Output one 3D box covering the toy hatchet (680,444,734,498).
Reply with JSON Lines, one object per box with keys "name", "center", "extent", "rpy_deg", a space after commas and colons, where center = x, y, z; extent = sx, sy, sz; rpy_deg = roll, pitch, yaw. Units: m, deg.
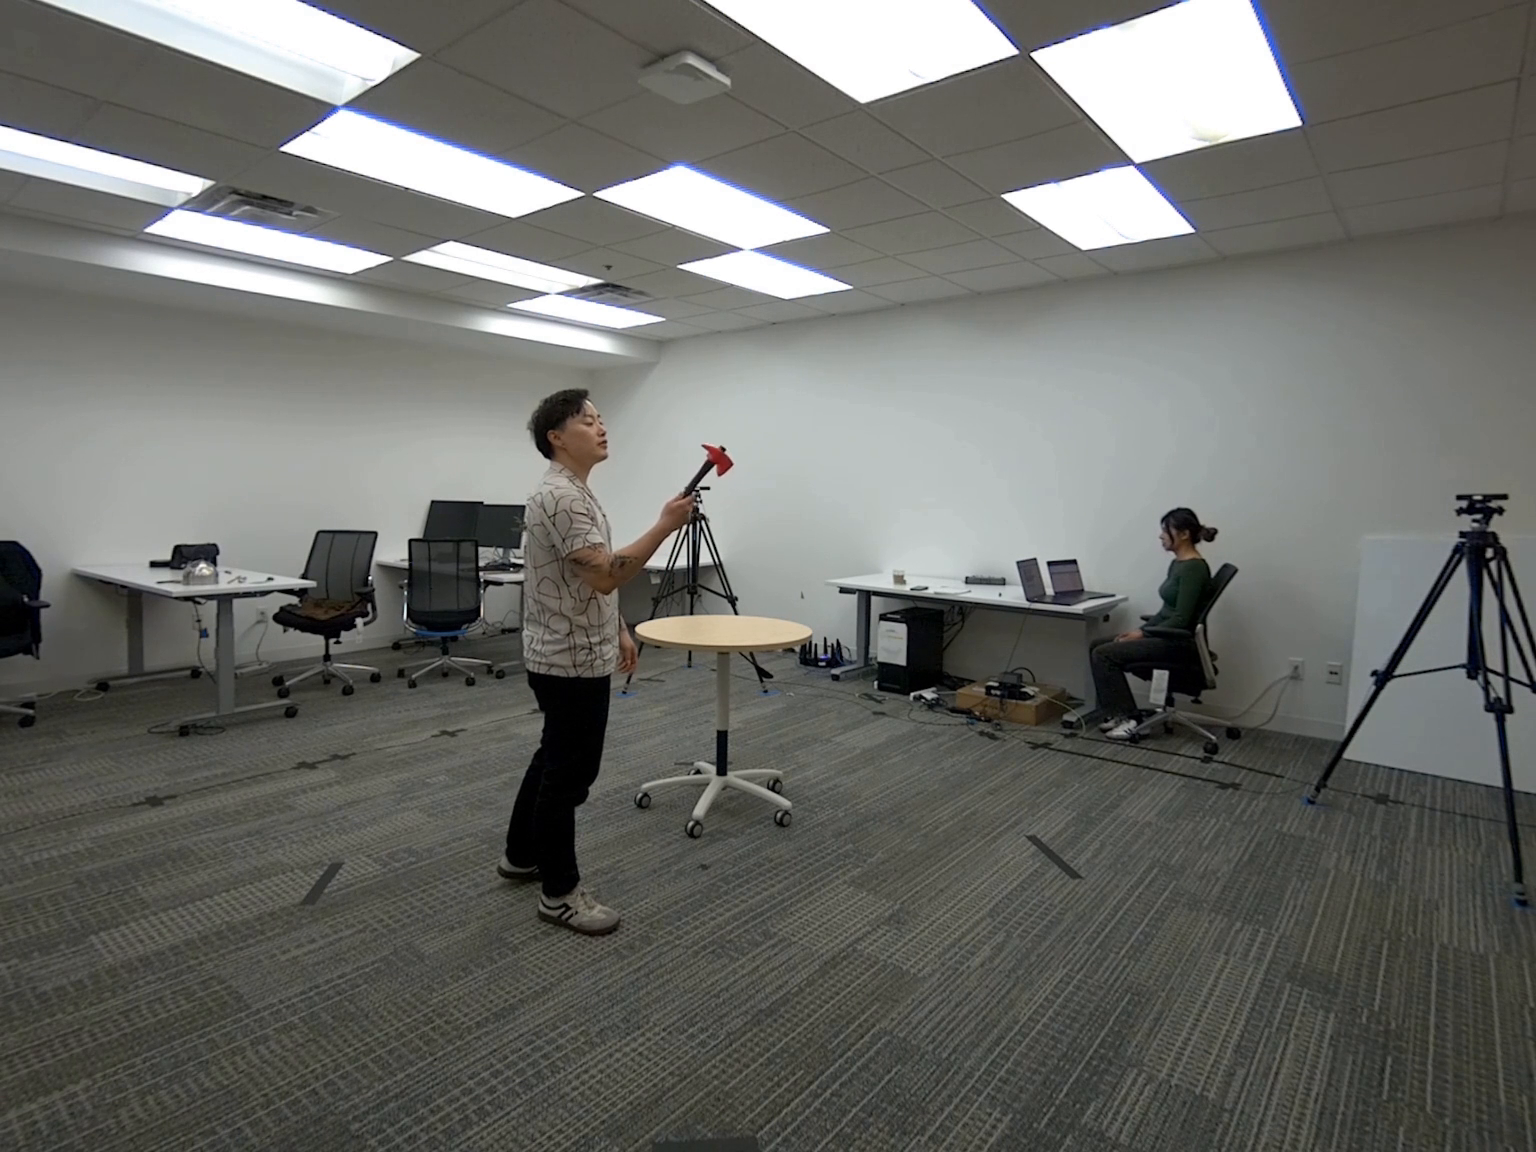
{"name": "toy hatchet", "center": [-0.209, -0.272, 2.541], "extent": [0.127, 0.268, 0.031], "rpy_deg": [9, 28, -36]}
